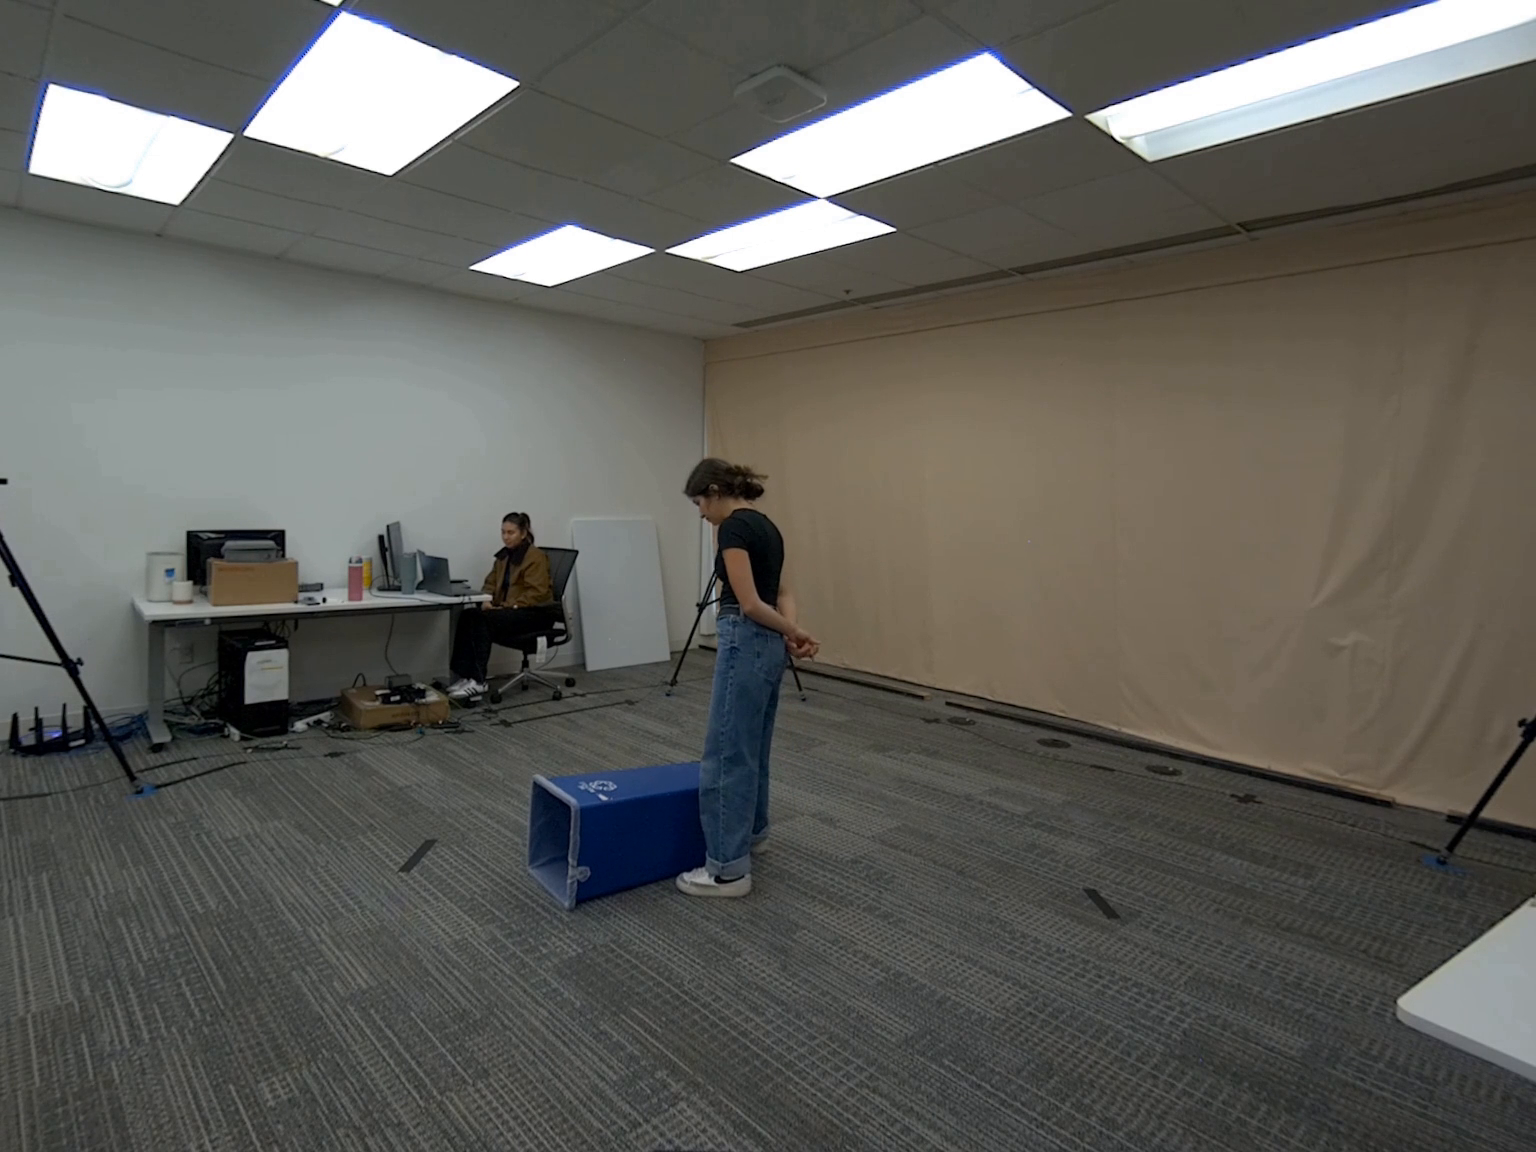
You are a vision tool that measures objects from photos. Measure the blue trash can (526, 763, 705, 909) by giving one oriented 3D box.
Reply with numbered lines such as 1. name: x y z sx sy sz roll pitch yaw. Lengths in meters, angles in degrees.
1. blue trash can: -0.500 0.928 3.145 0.697 0.377 0.383 1 4 -38
